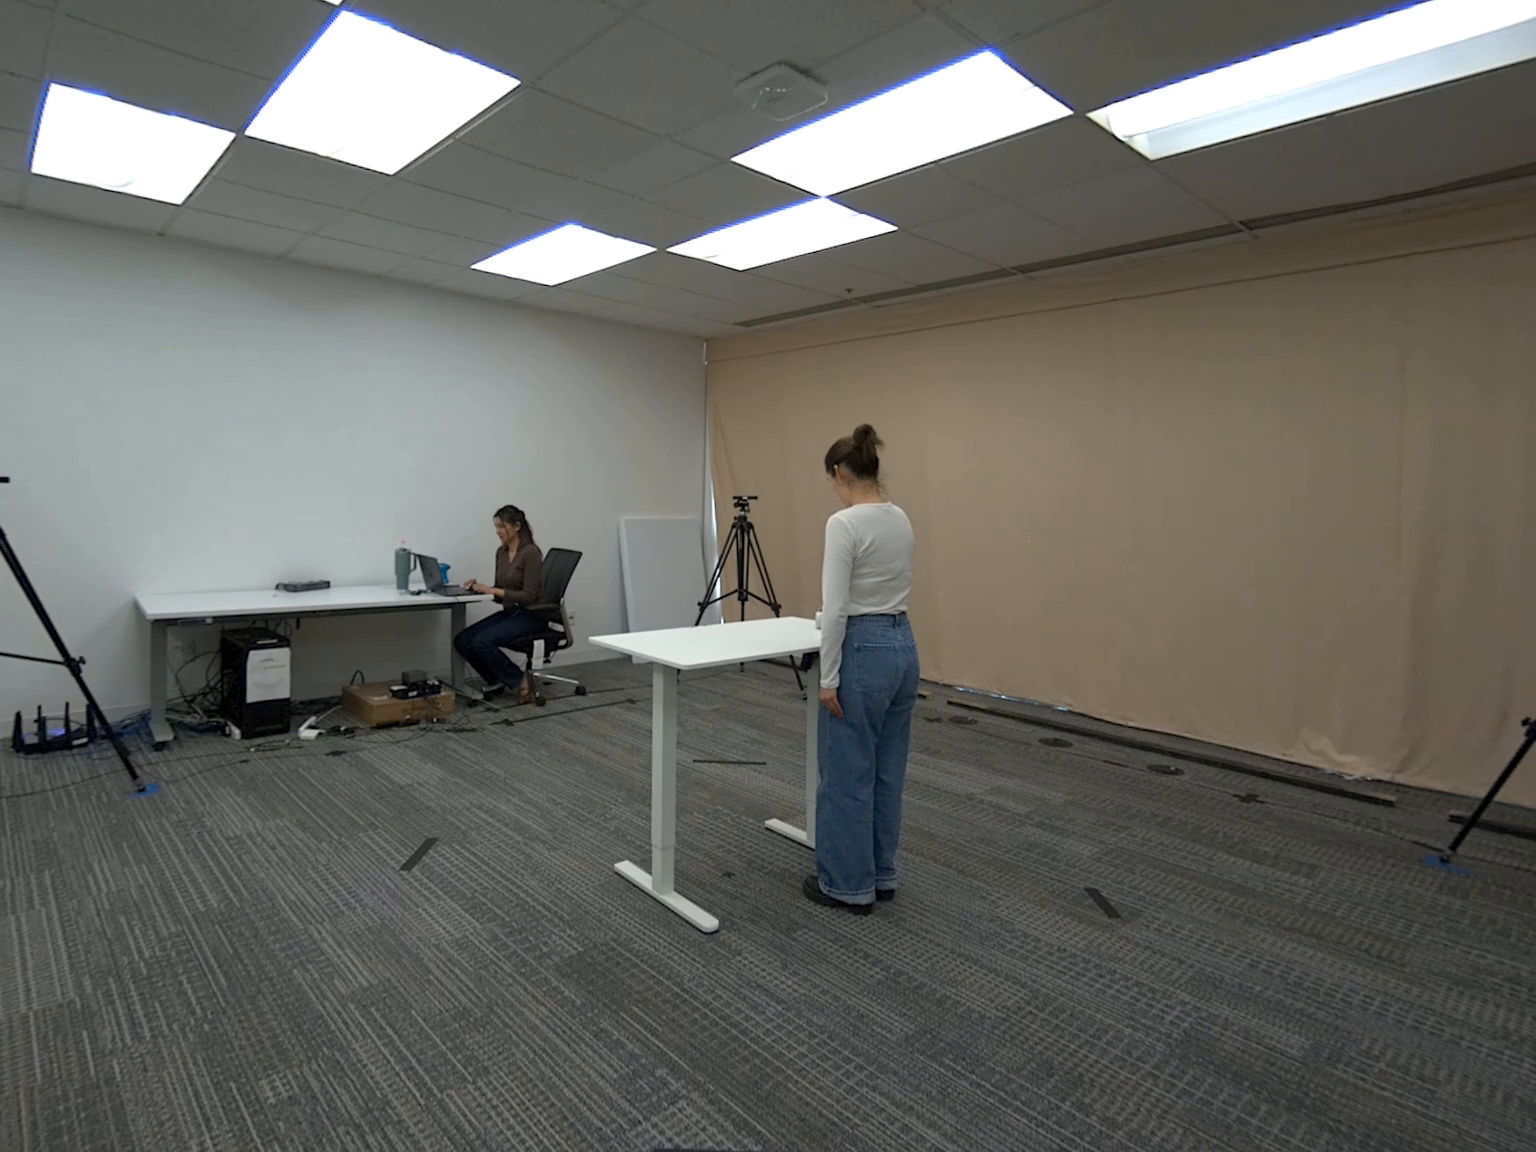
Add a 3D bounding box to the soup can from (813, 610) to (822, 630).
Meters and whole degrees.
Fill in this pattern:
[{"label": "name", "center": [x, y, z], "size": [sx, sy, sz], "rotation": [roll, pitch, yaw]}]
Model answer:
[{"label": "soup can", "center": [0.250, 0.180, 3.293], "size": [0.122, 0.067, 0.067], "rotation": [5, 4, 6]}]
